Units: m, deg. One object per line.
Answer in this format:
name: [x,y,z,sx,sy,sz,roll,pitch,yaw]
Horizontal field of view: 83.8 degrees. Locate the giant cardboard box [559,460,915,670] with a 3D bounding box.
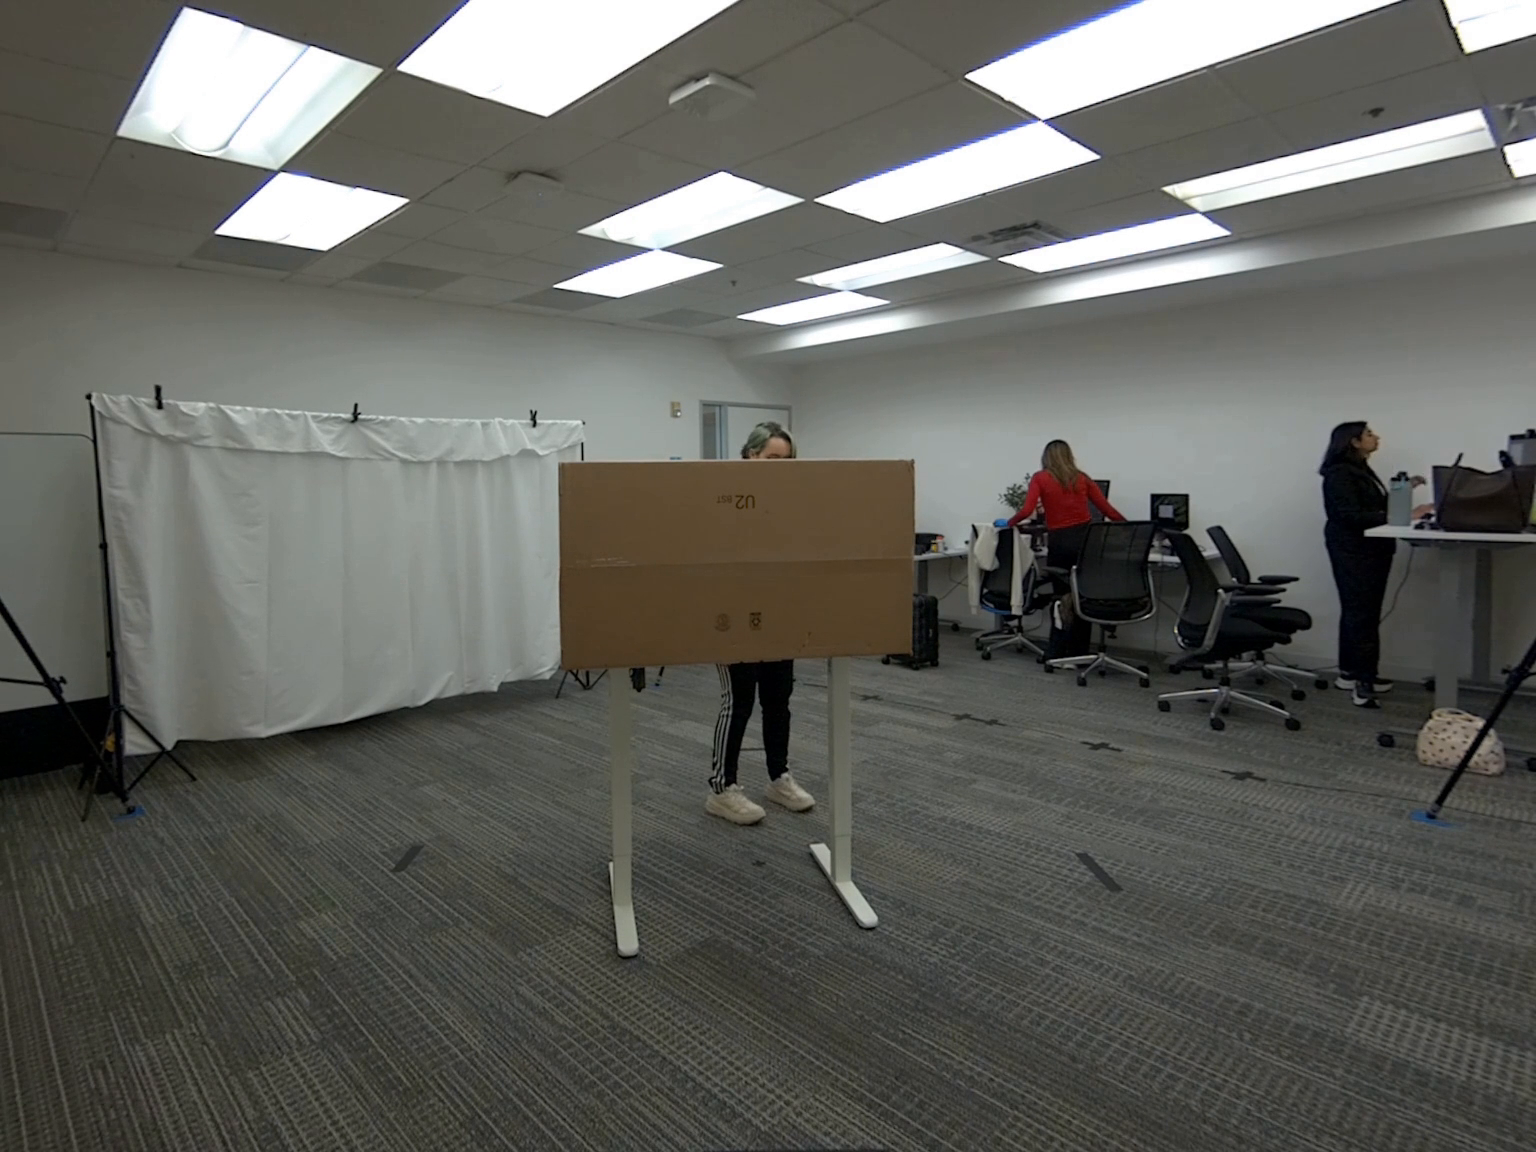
giant cardboard box: [-0.117,-0.069,2.615,1.017,0.582,0.453,-1,4,-11]
